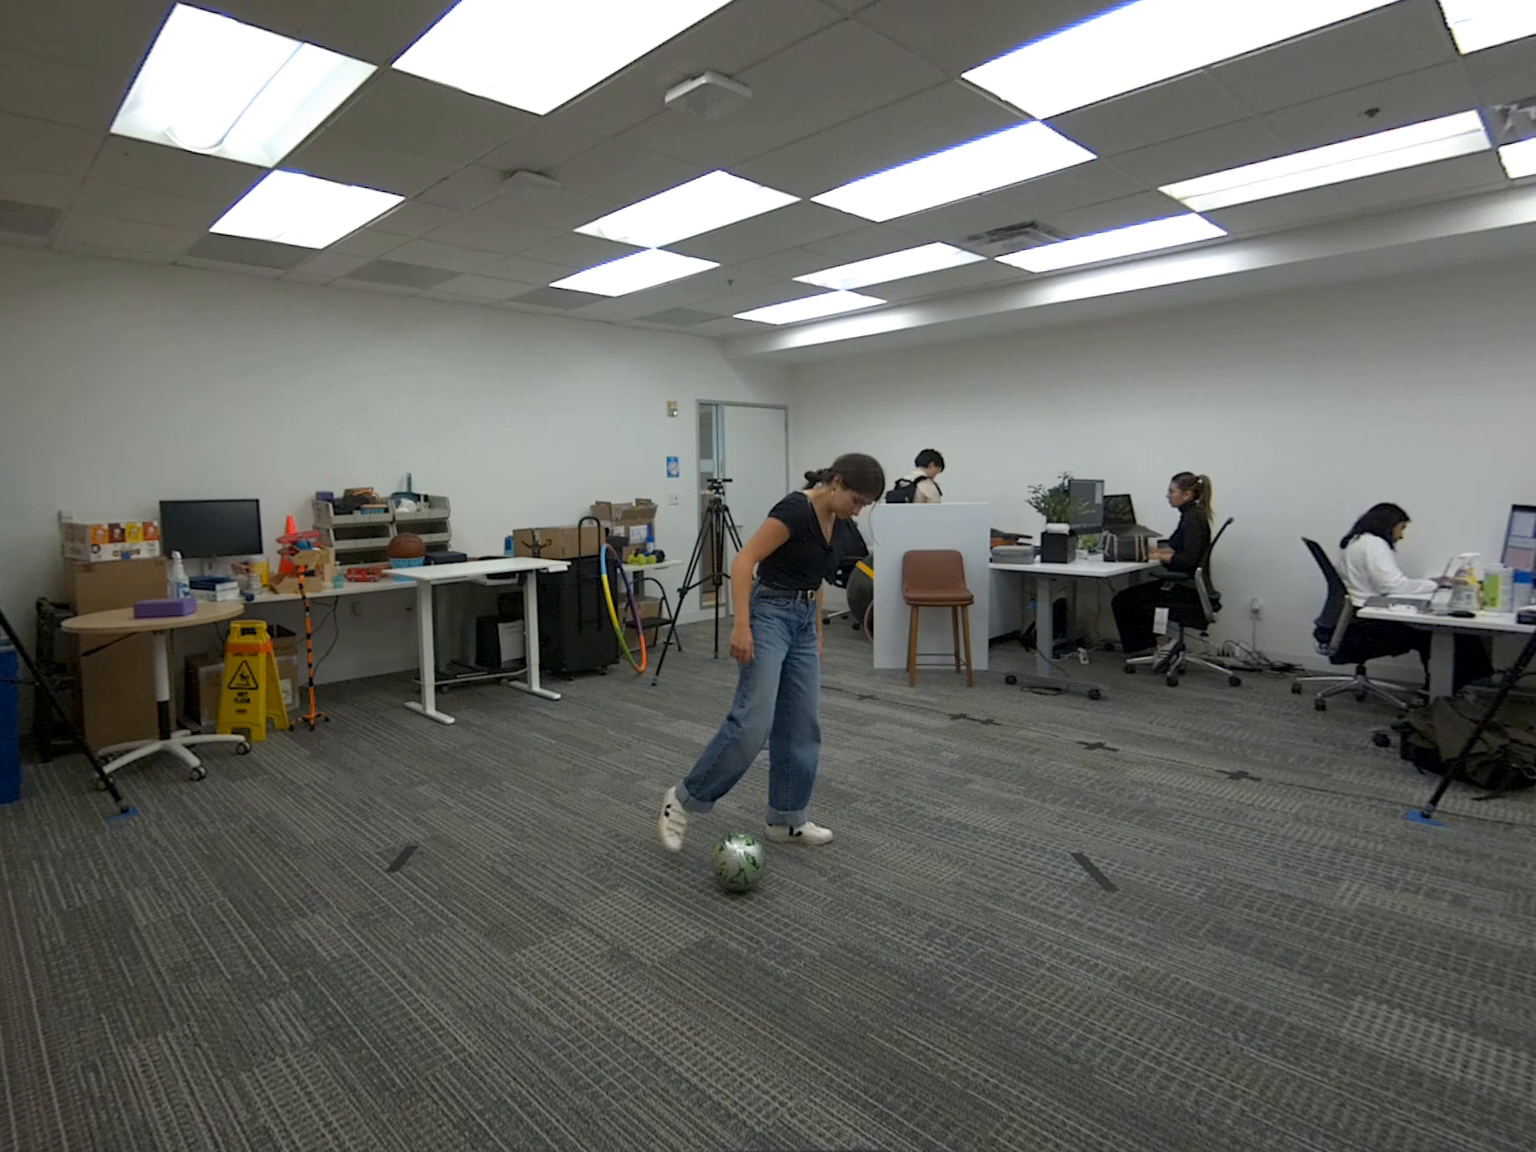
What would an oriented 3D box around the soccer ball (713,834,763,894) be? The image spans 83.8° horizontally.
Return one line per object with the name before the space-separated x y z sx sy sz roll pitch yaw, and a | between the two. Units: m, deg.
soccer ball | -0.095 0.975 2.918 0.187 0.187 0.188 -1 5 -2
